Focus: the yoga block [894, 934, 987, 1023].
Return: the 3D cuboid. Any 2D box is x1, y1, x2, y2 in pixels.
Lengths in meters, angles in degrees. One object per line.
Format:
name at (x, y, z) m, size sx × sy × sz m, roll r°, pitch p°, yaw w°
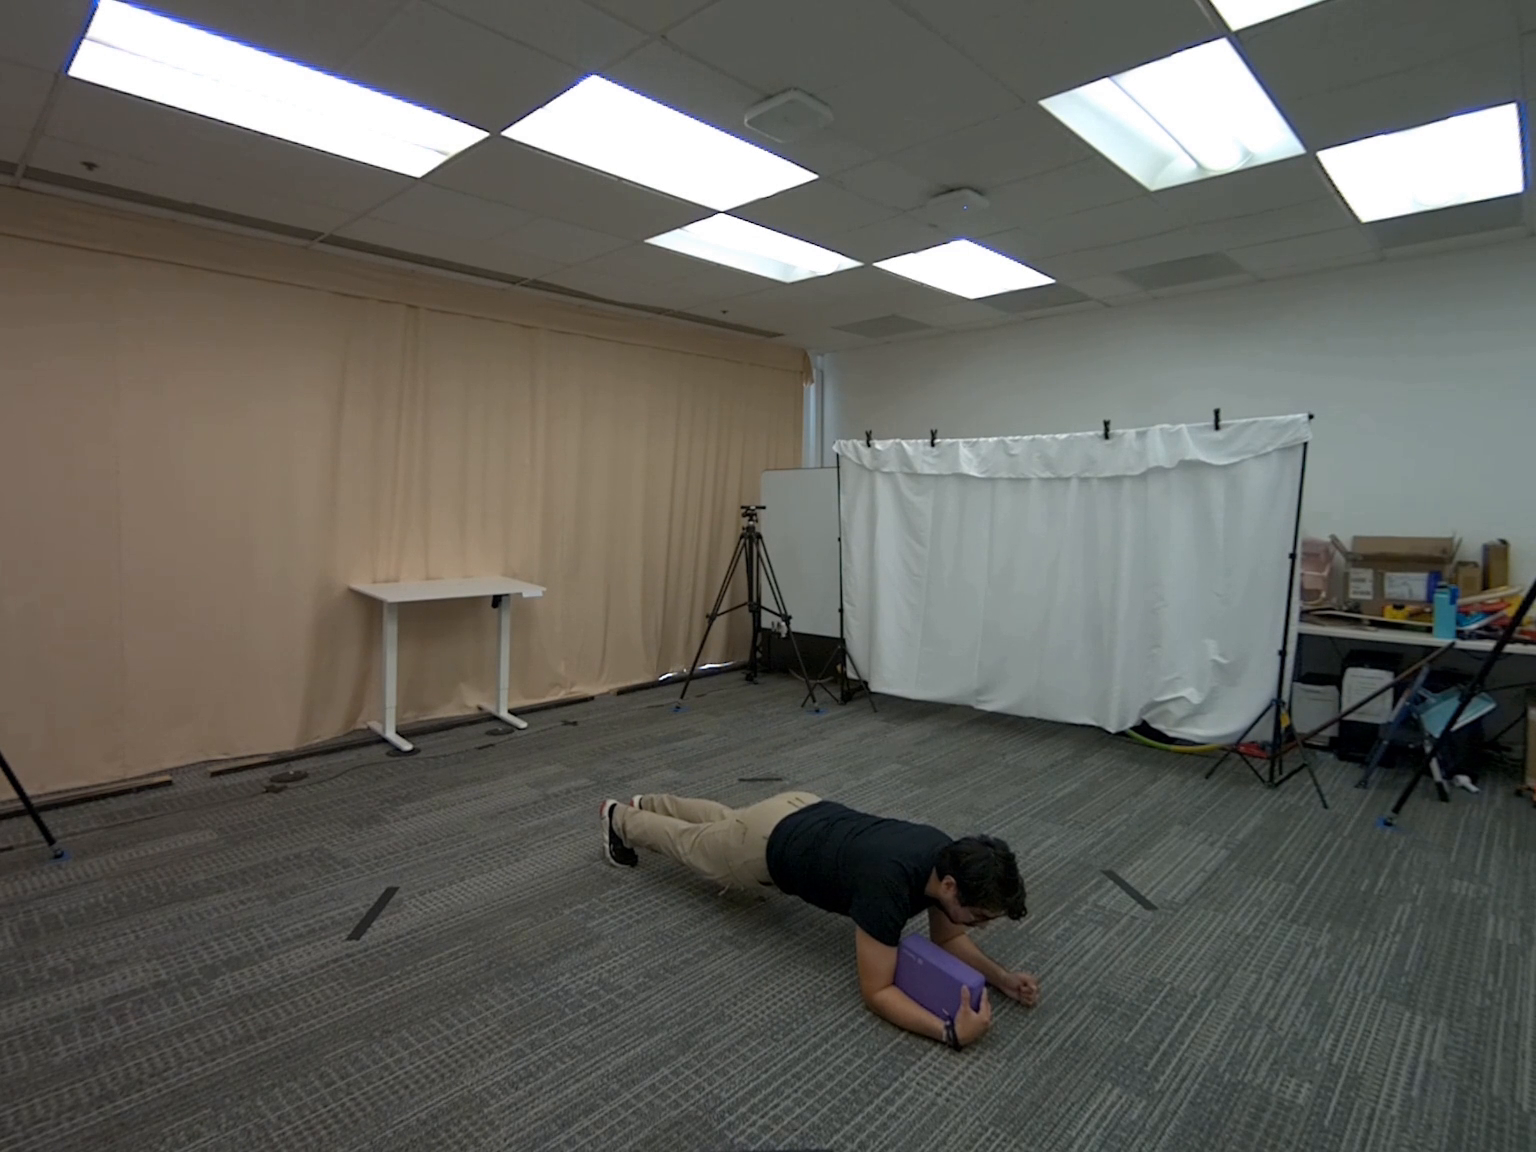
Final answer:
yoga block at (0.461, 1.091, 2.275) m, size 0.074 × 0.148 × 0.238 m, roll -2°, pitch 12°, yaw -43°
